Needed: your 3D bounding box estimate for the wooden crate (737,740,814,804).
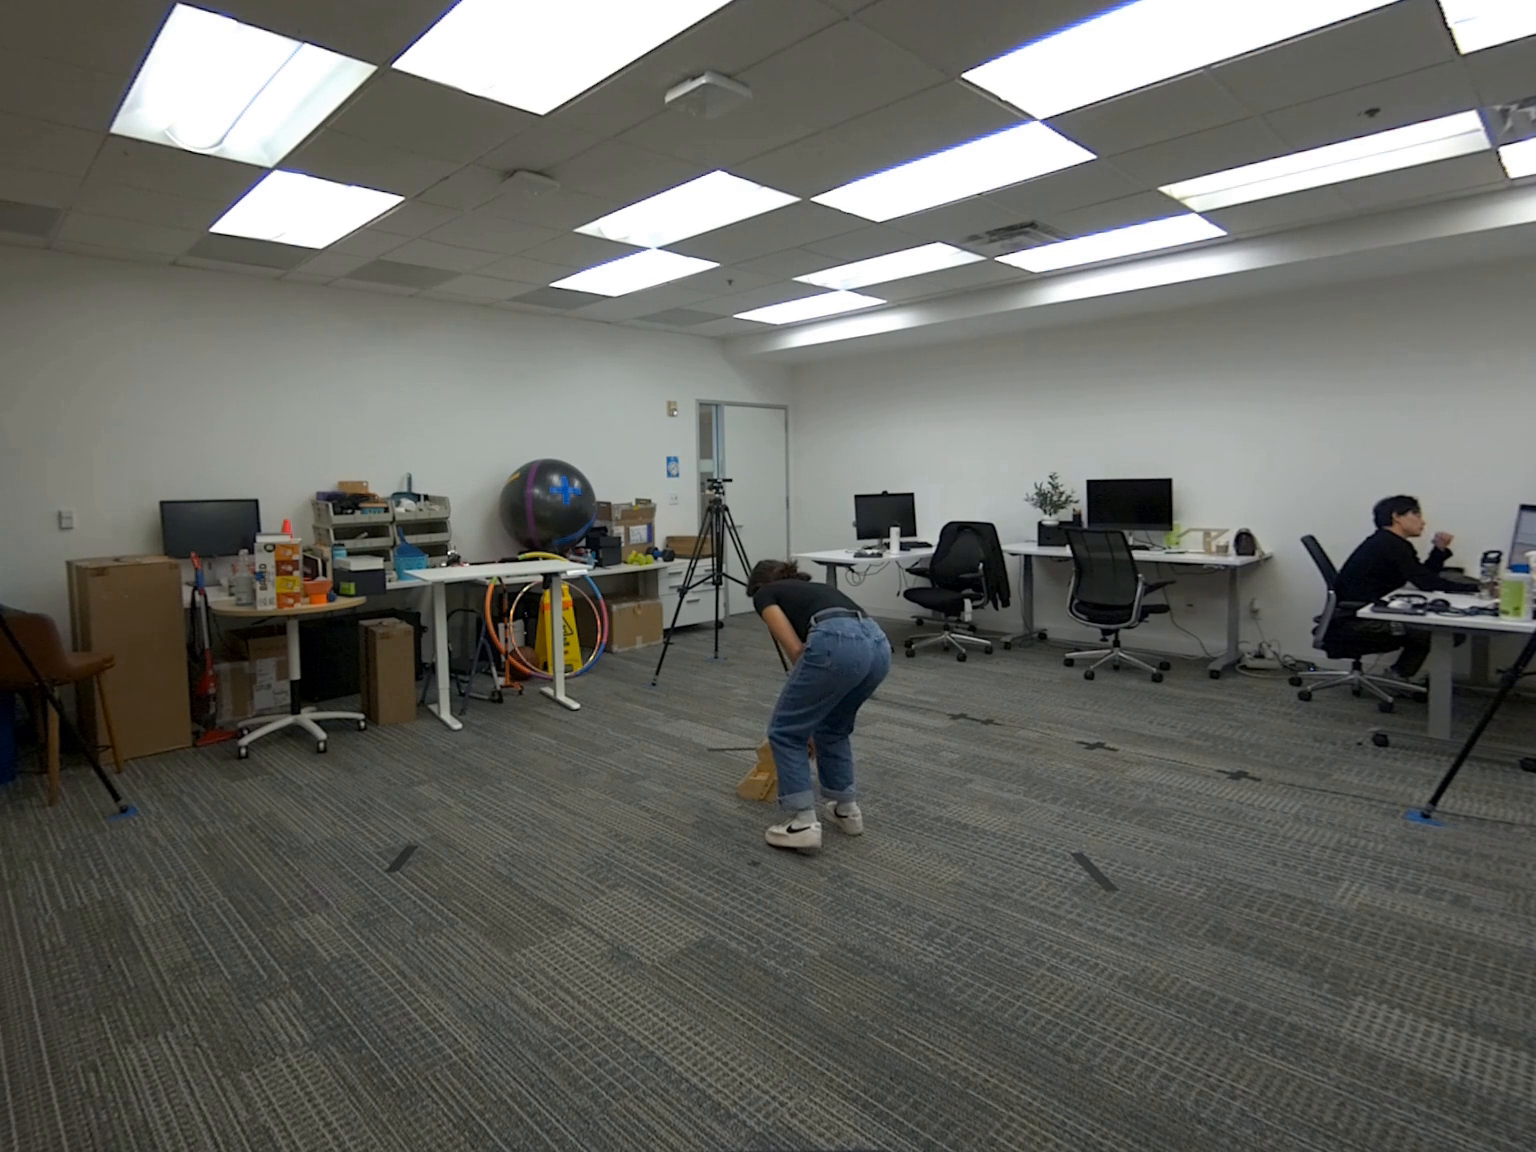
[{"bbox_3d":[0.040,0.831,3.847,0.307,0.272,0.320,2,5,16],"label":"wooden crate"}]
